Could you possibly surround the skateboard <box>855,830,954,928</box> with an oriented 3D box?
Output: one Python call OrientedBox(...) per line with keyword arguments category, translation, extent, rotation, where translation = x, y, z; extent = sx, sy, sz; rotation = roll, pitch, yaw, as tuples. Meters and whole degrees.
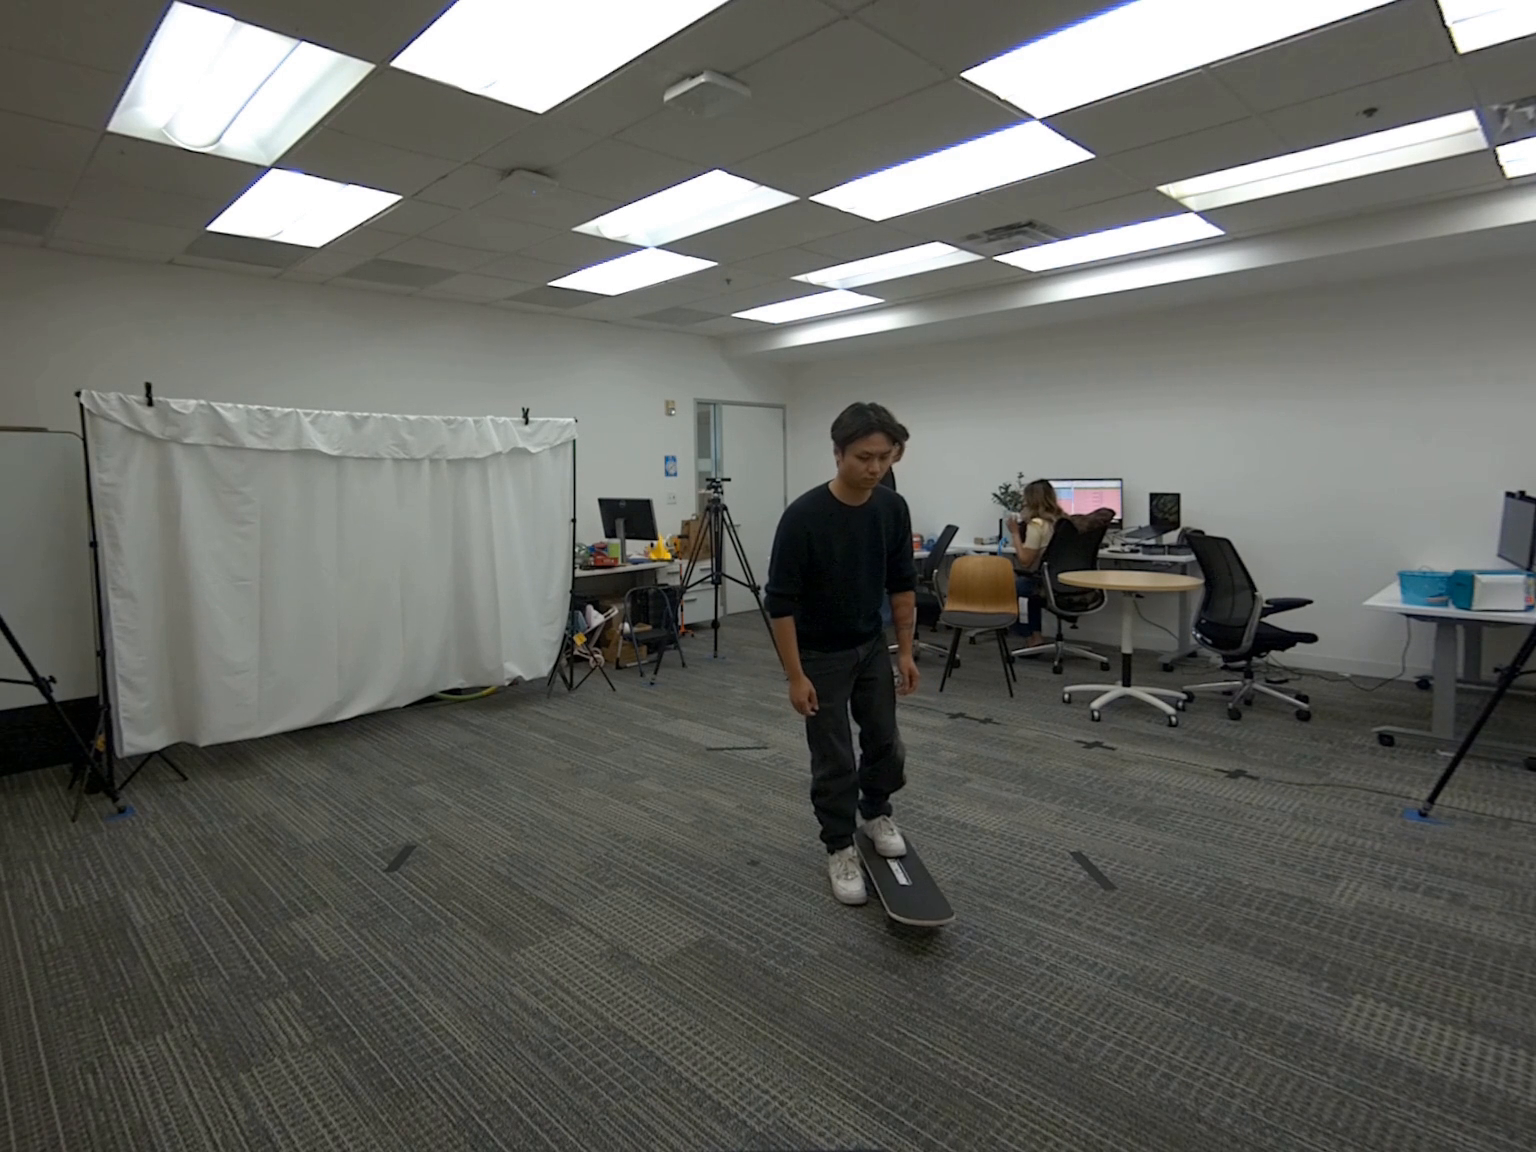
OrientedBox(category="skateboard", translation=(0.443, 1.008, 2.809), extent=(0.193, 0.110, 0.790), rotation=(-1, 4, -4))
